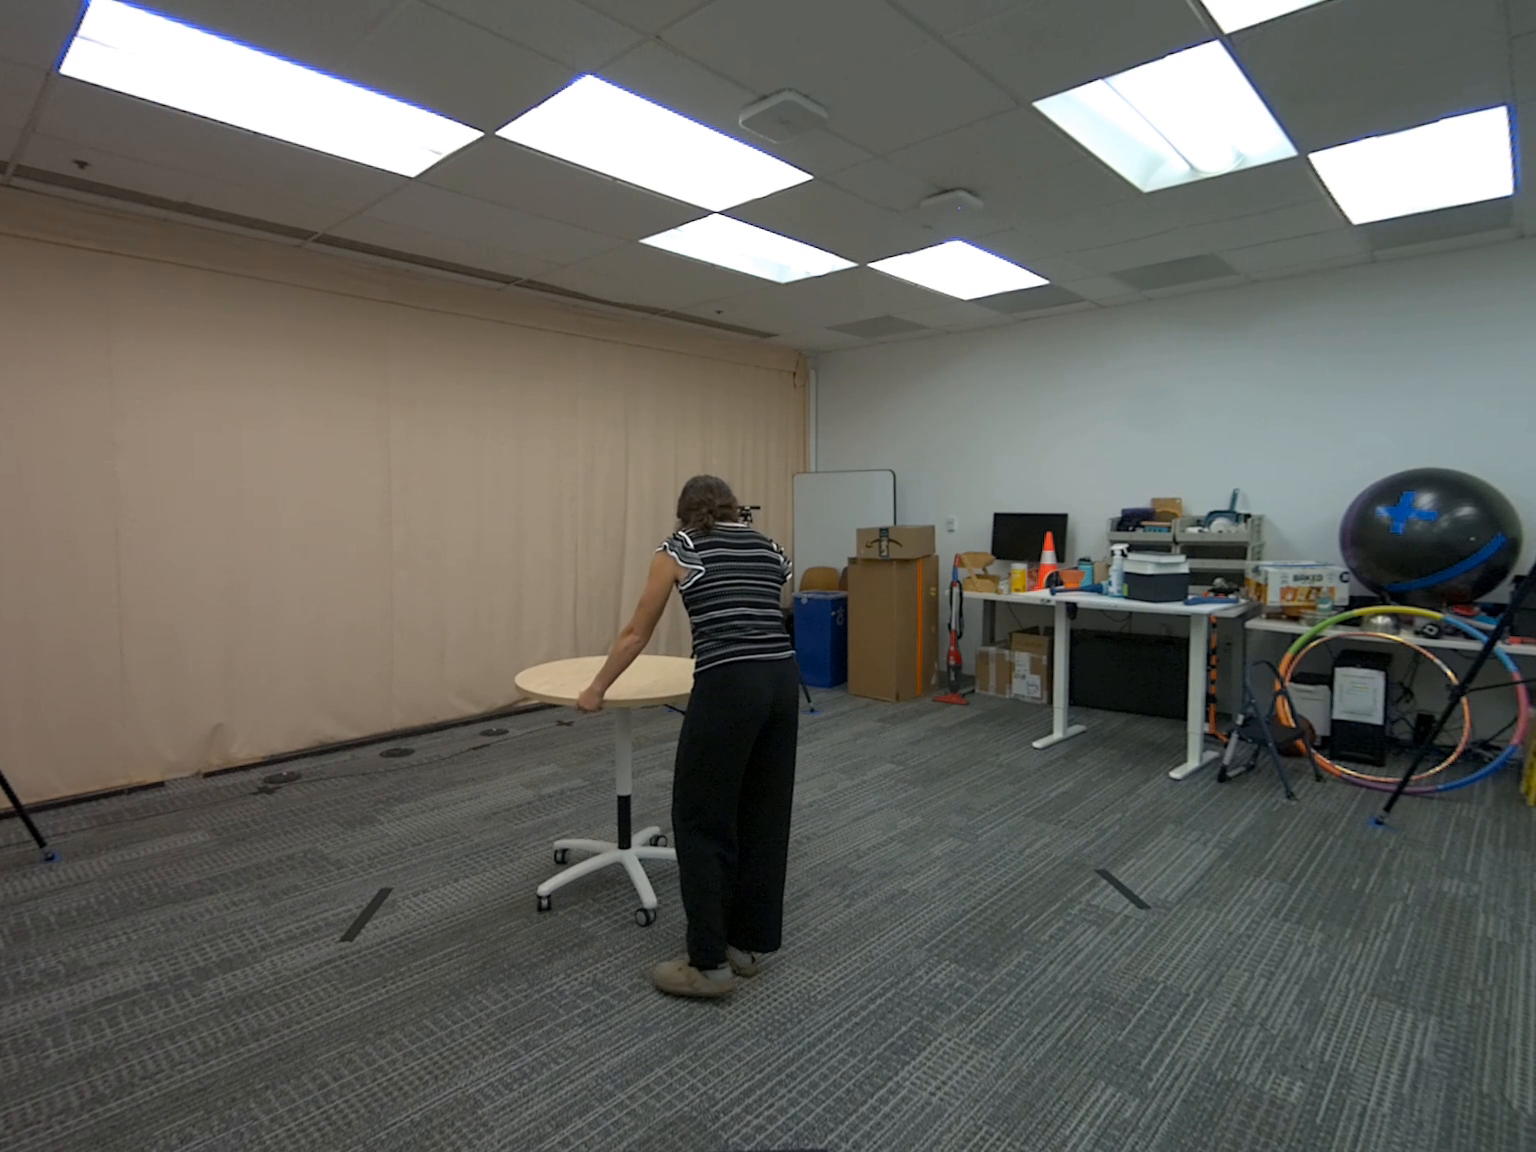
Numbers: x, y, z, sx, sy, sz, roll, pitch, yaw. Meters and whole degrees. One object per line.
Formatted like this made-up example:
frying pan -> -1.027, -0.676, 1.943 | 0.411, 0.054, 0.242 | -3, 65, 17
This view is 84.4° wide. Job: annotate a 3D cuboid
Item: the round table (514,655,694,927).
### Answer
round table -> -0.527, 0.751, 3.090 | 0.763, 0.792, 0.767 | 0, 4, -2
